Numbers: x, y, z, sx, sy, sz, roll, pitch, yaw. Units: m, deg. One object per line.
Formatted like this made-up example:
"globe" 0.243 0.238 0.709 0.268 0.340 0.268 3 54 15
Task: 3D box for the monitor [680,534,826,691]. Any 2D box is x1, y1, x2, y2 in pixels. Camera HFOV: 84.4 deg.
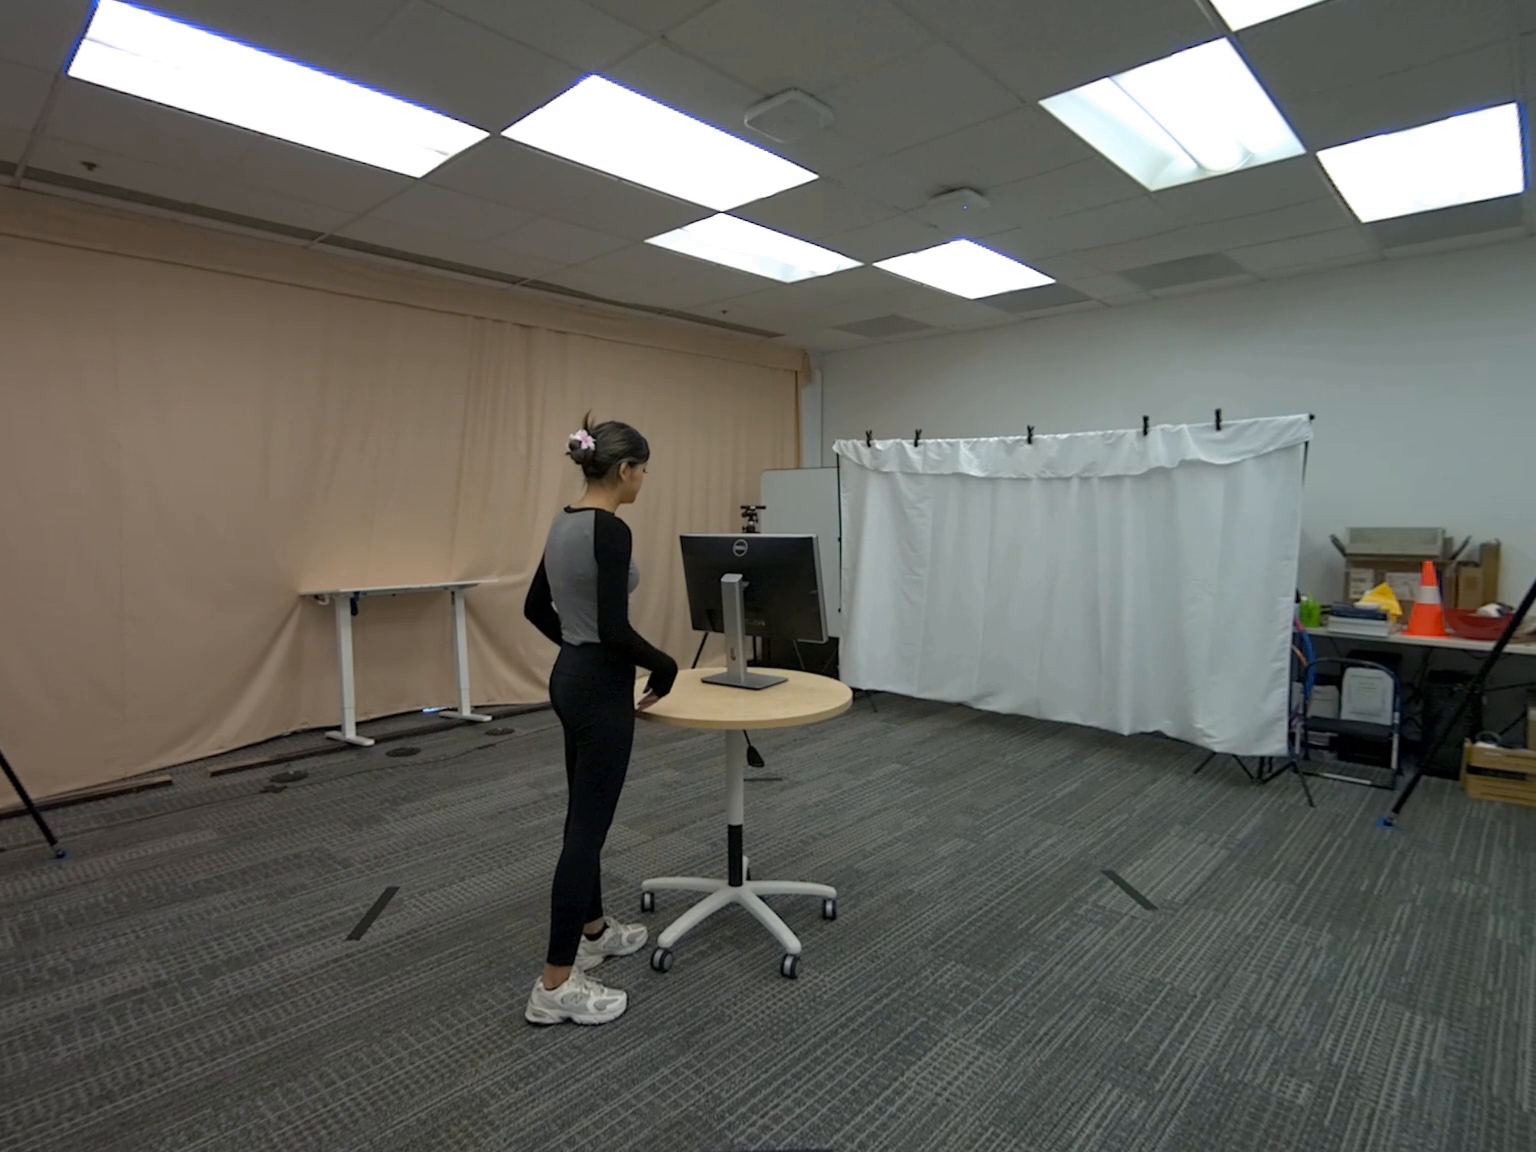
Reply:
"monitor" -0.074 0.118 2.882 0.546 0.517 0.169 0 -5 35
